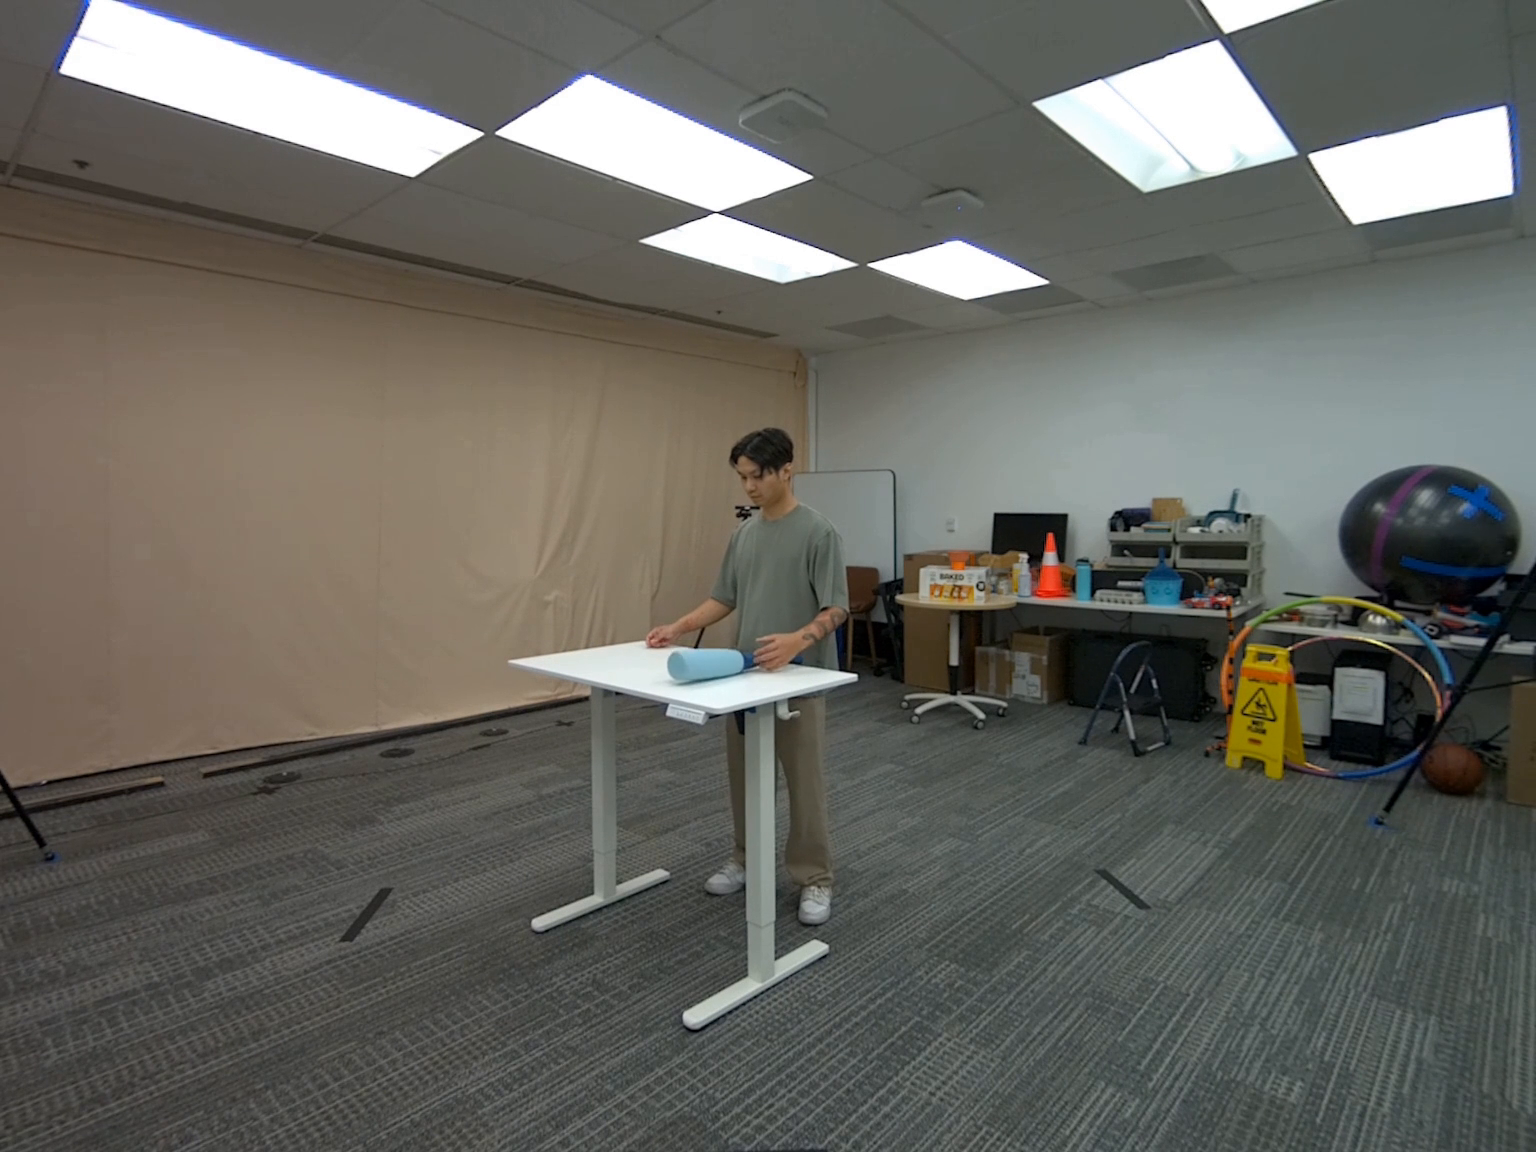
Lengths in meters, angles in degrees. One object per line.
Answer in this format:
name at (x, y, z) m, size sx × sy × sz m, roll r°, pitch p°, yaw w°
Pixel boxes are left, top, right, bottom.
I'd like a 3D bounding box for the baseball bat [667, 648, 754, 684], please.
baseball bat at (-0.087, 0.263, 2.575) m, size 0.092 × 0.089 × 0.525 m, roll 3°, pitch 0°, yaw 42°
